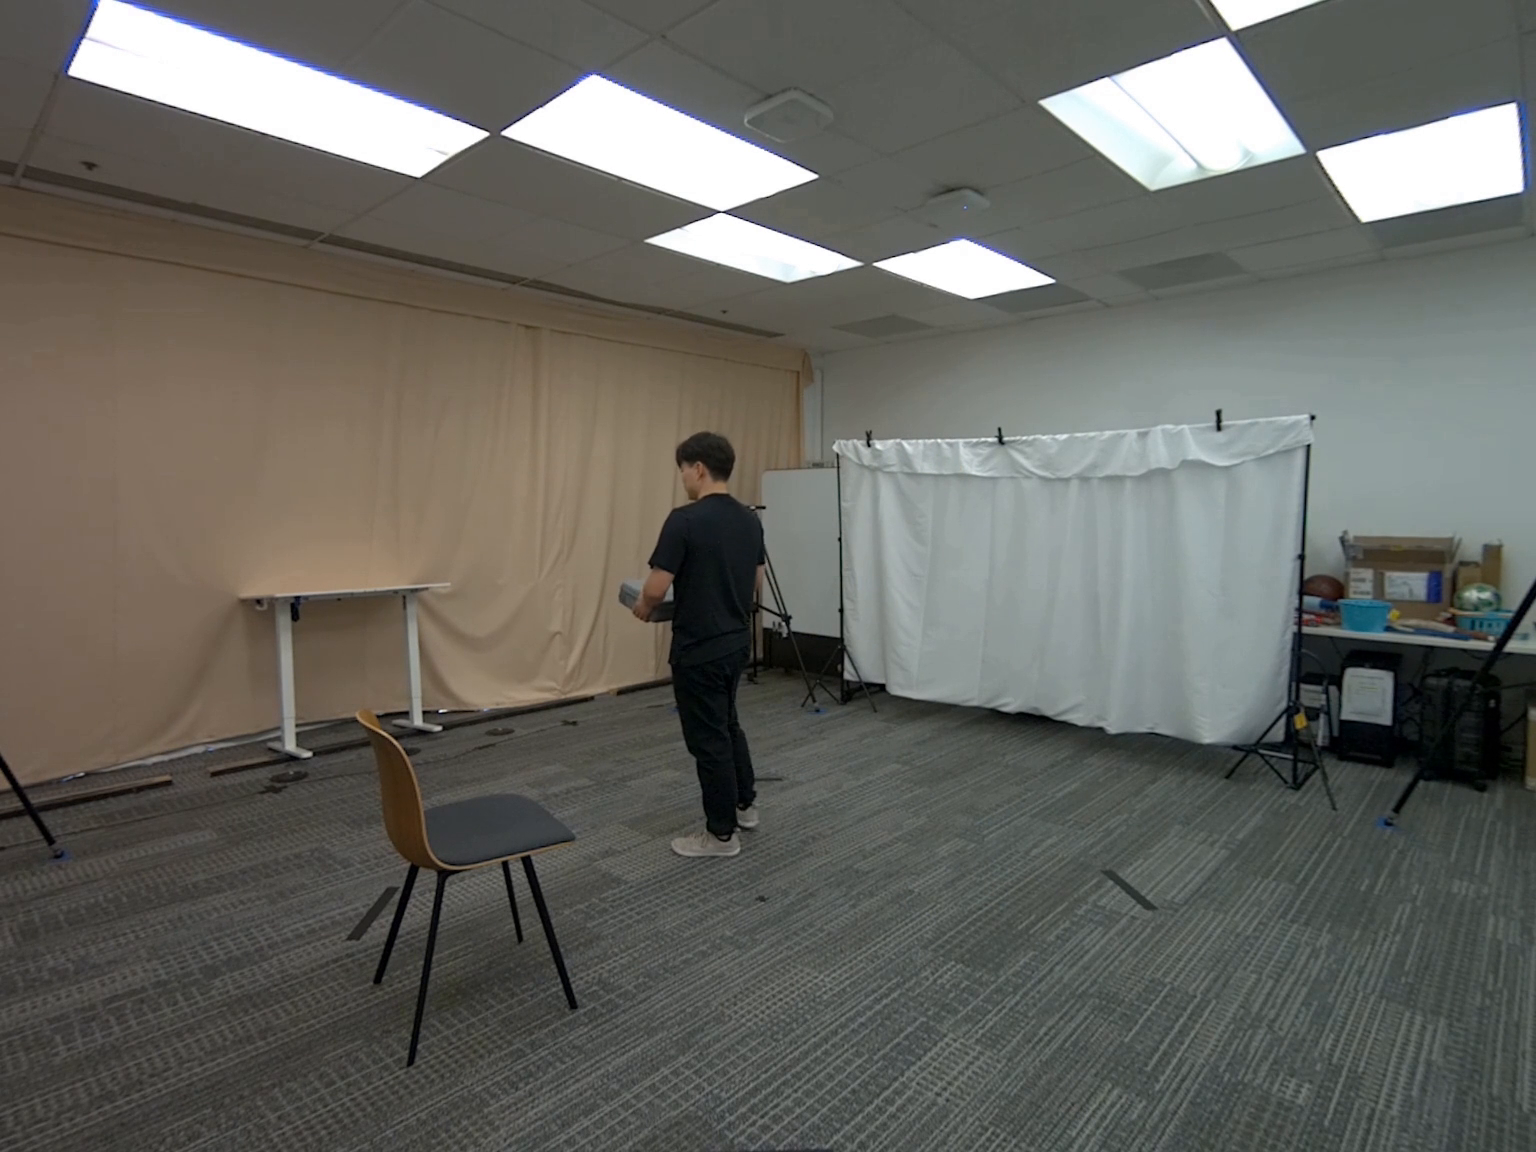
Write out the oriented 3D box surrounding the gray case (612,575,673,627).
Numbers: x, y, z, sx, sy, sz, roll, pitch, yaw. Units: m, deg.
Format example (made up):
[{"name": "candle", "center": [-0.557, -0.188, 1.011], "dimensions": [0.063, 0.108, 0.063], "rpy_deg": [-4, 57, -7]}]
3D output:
[{"name": "gray case", "center": [-0.461, 0.094, 3.546], "dimensions": [0.270, 0.104, 0.249], "rpy_deg": [24, 20, 34]}]
